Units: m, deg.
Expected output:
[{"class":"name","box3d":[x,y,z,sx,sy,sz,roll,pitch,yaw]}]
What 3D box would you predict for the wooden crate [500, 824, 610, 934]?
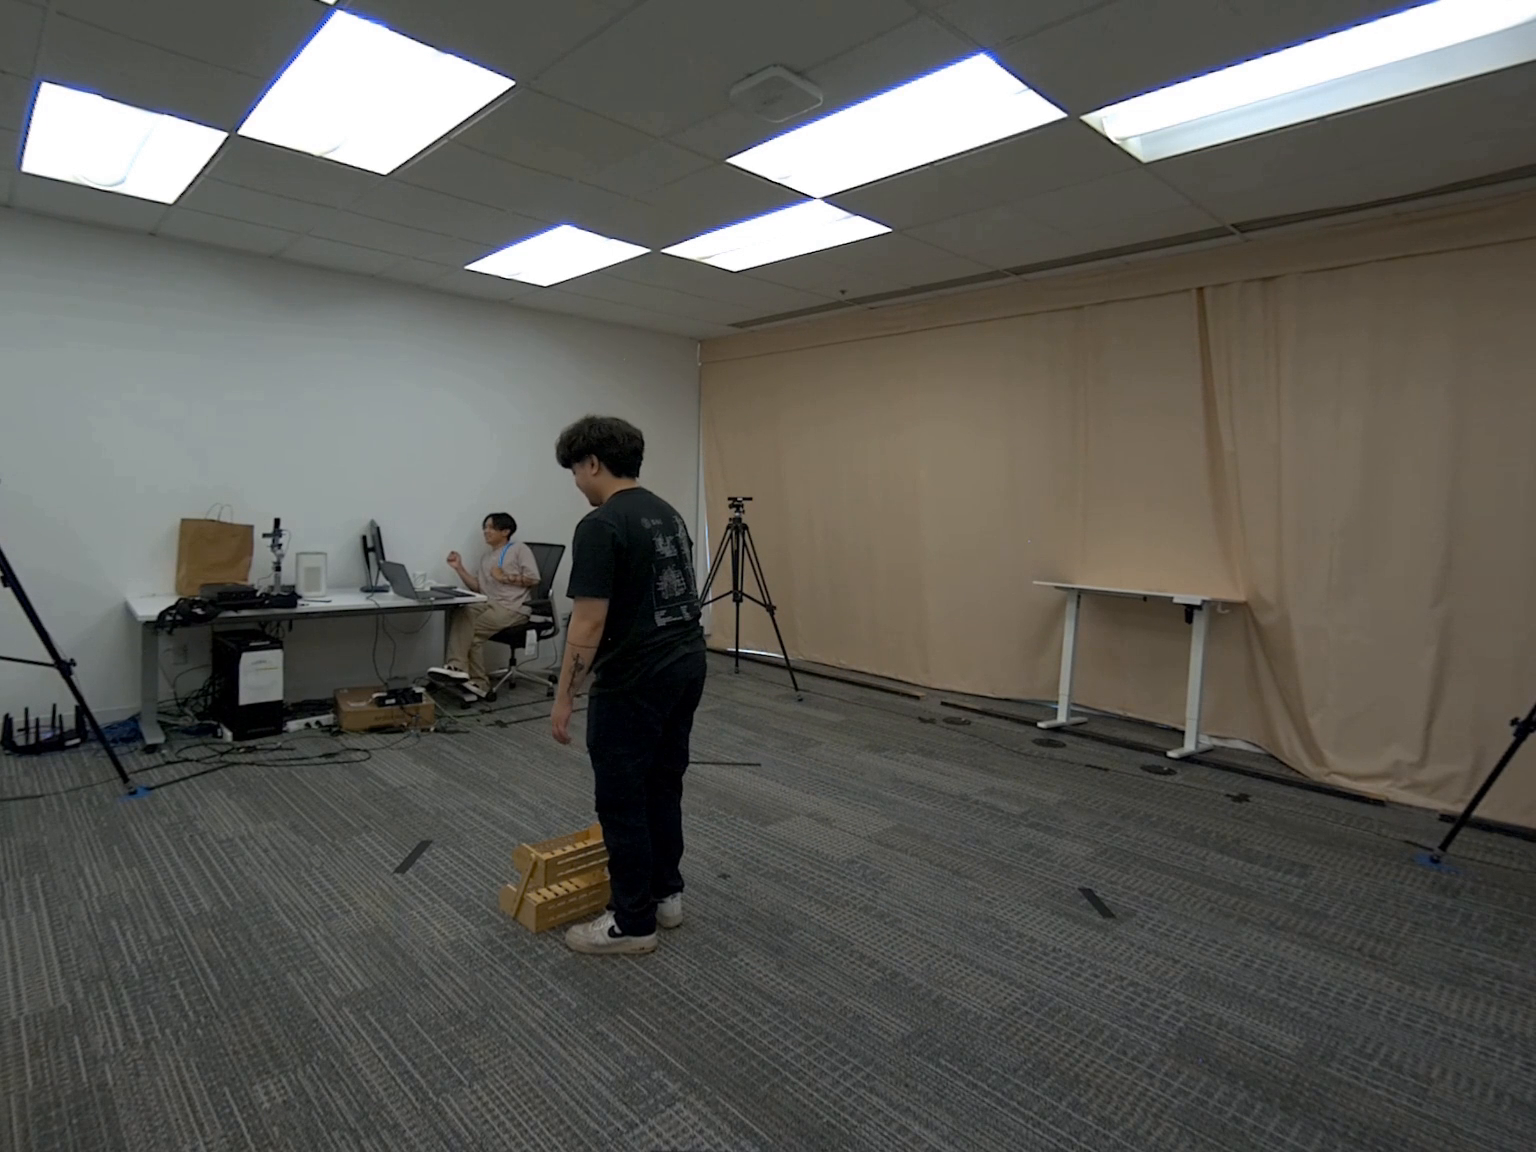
[{"class":"wooden crate","box3d":[-0.710,0.989,2.832,0.317,0.272,0.310,-3,7,-44]}]
